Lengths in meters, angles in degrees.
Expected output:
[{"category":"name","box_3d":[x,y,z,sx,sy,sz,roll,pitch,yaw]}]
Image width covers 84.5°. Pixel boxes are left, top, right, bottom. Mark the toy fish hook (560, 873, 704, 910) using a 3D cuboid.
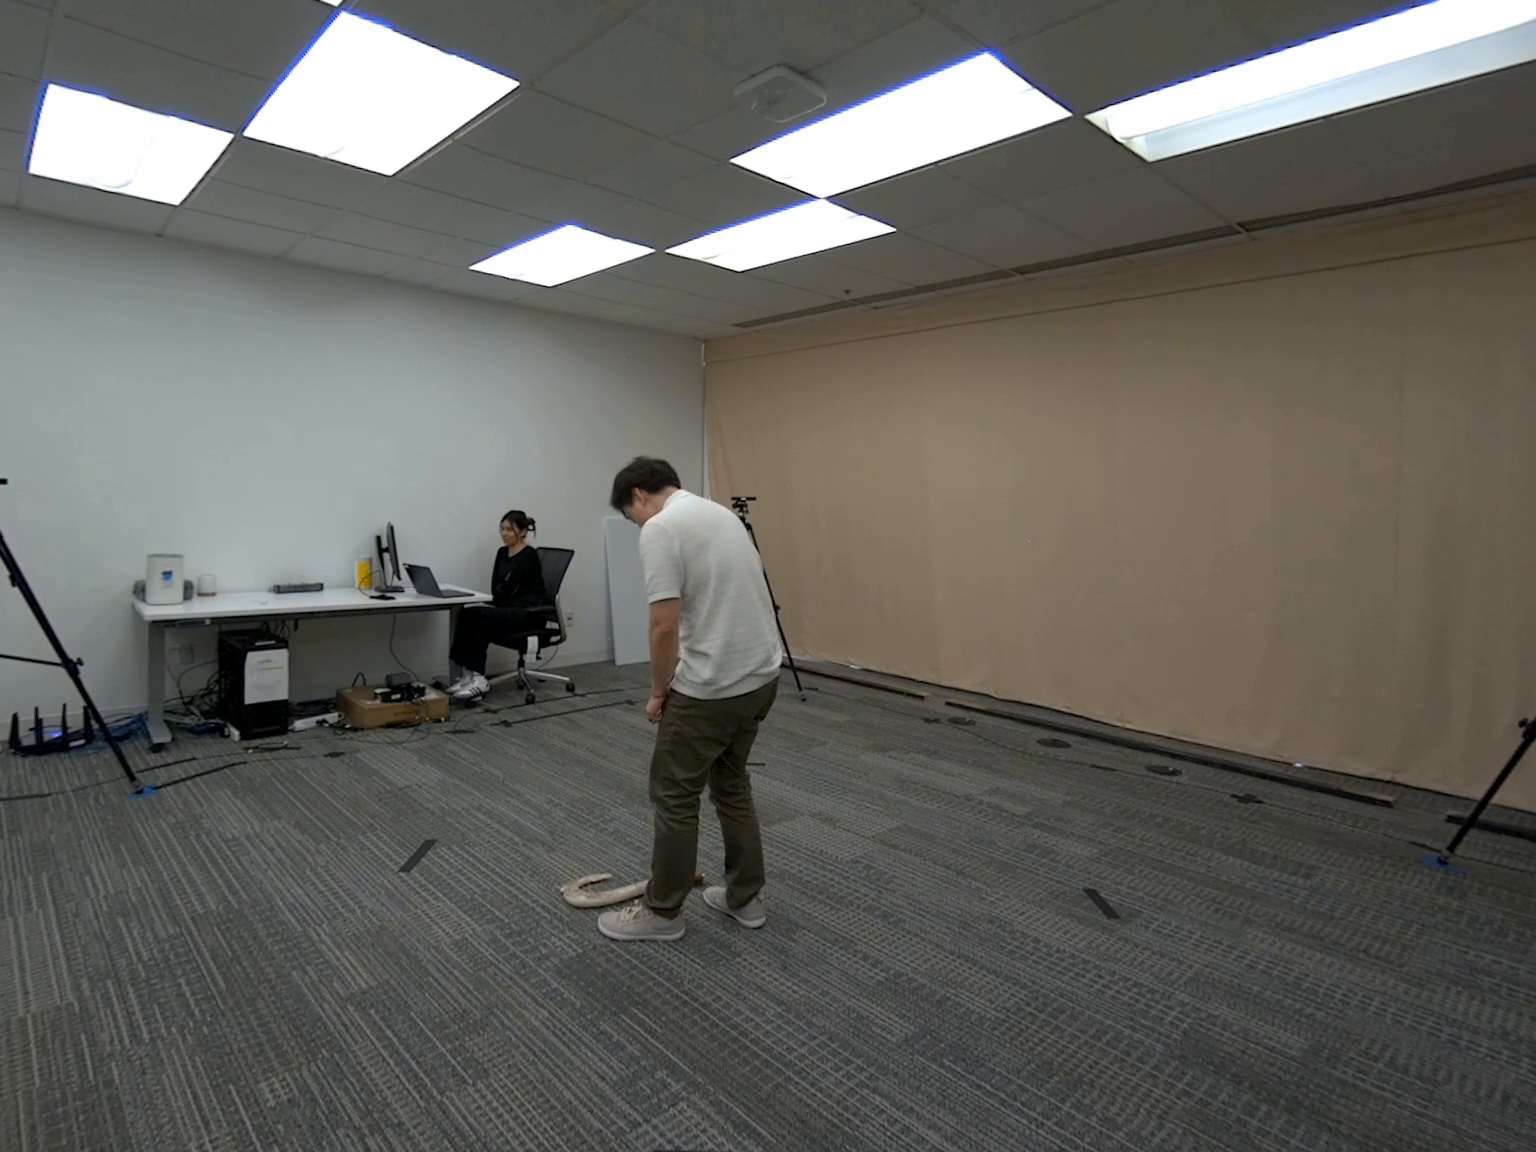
[{"category":"toy fish hook","box_3d":[-0.478,1.086,2.985,0.498,0.048,0.229,0,6,-24]}]
